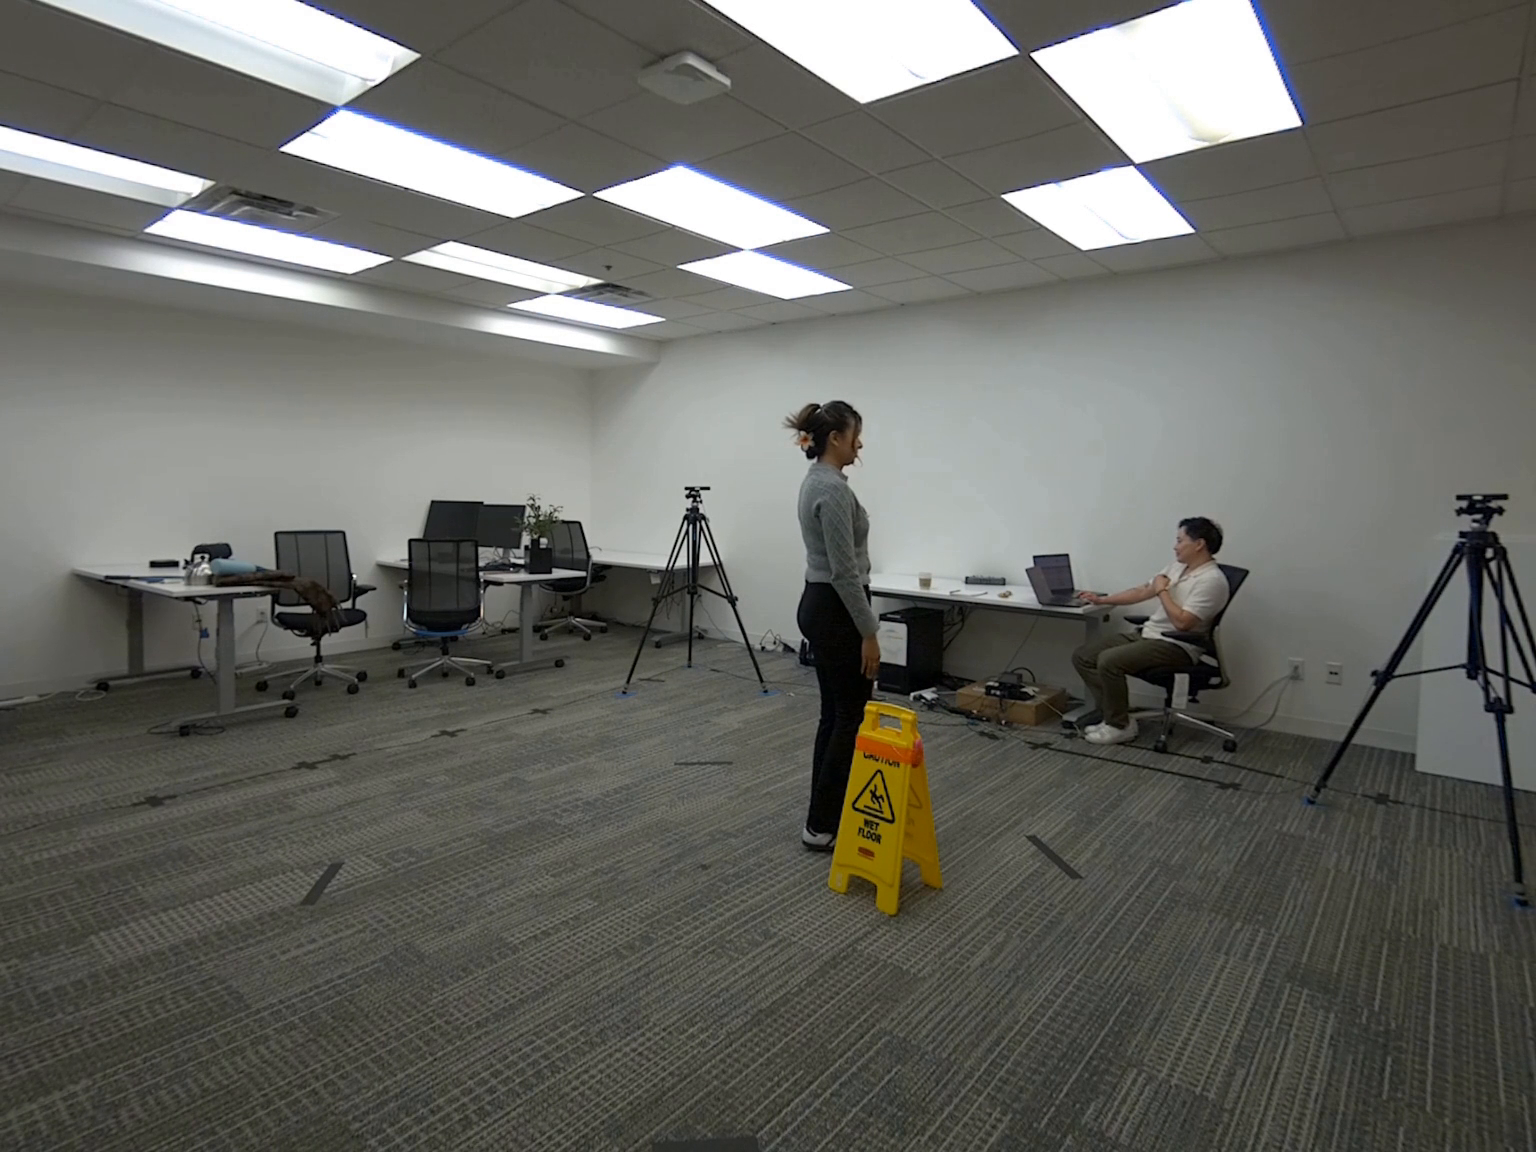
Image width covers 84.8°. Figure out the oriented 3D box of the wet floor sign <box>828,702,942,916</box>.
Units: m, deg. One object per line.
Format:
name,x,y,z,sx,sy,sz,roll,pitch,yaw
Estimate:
wet floor sign,0.413,0.768,2.962,0.292,0.644,0.281,4,5,44
